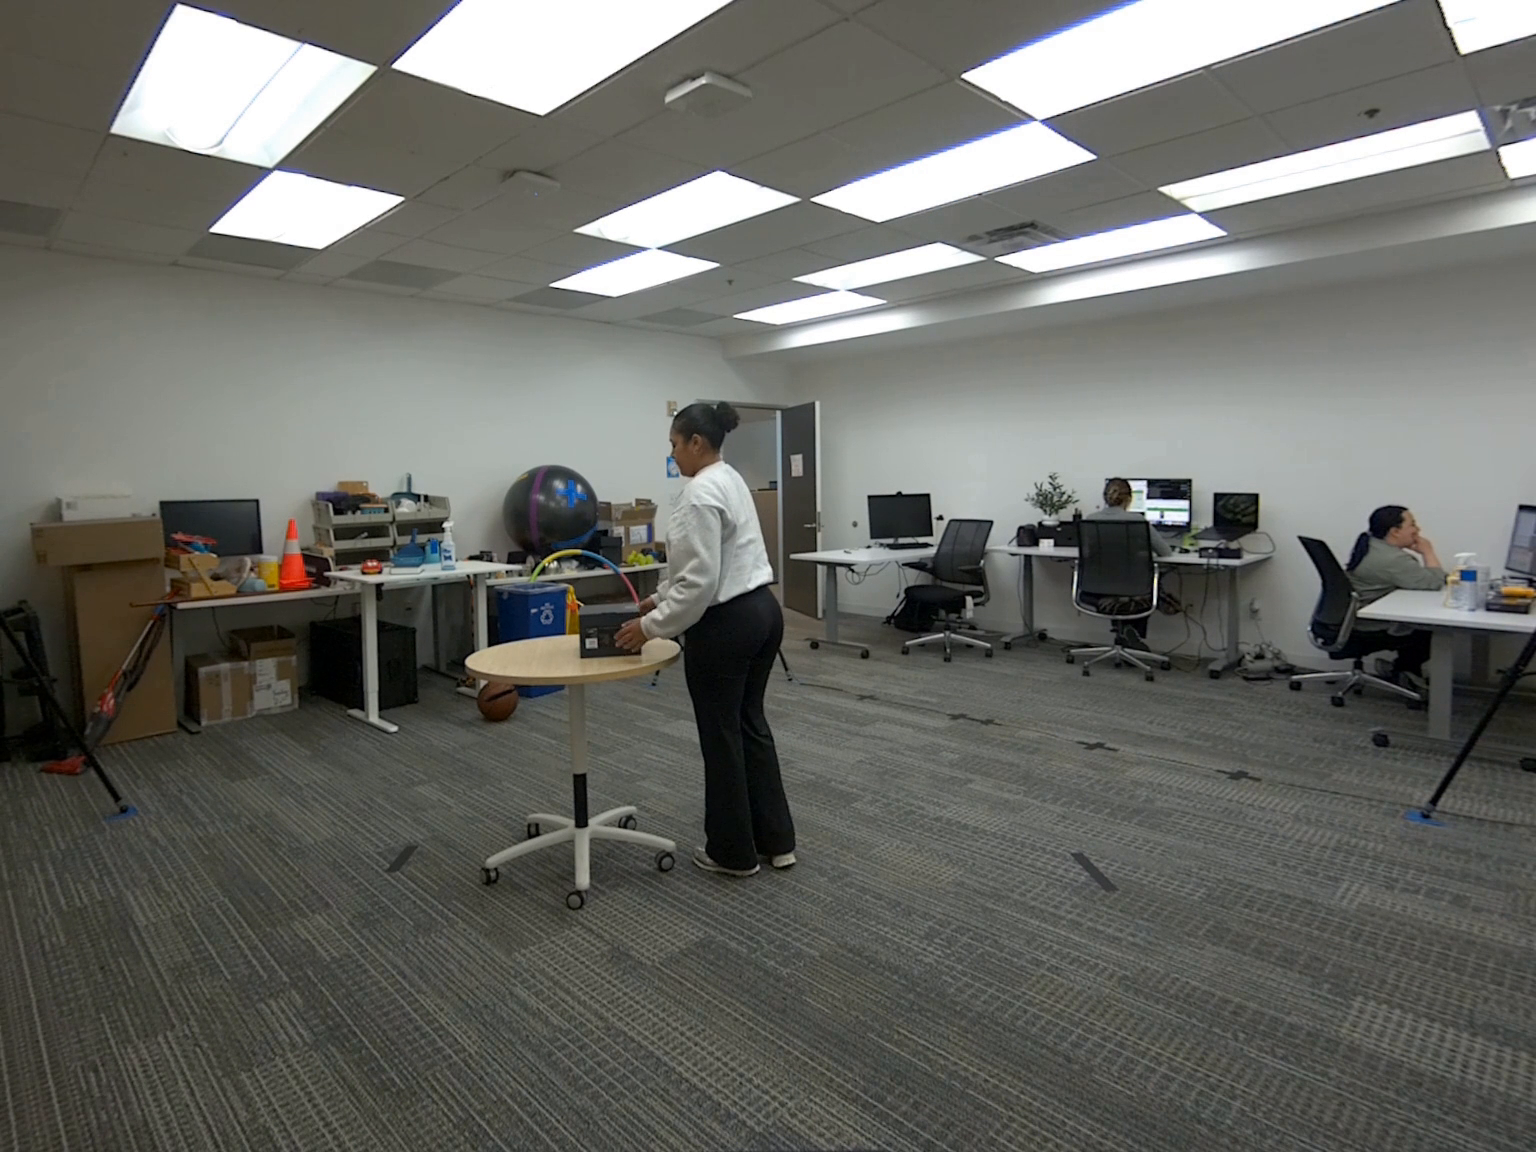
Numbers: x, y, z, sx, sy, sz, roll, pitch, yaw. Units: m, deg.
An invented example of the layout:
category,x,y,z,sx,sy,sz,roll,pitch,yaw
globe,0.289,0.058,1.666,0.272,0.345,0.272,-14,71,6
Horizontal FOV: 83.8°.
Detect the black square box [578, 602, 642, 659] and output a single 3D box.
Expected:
category,x,y,z,sx,sy,sz,roll,pitch,yaw
black square box,-0.577,0.191,3.097,0.215,0.155,0.230,-2,5,-8
